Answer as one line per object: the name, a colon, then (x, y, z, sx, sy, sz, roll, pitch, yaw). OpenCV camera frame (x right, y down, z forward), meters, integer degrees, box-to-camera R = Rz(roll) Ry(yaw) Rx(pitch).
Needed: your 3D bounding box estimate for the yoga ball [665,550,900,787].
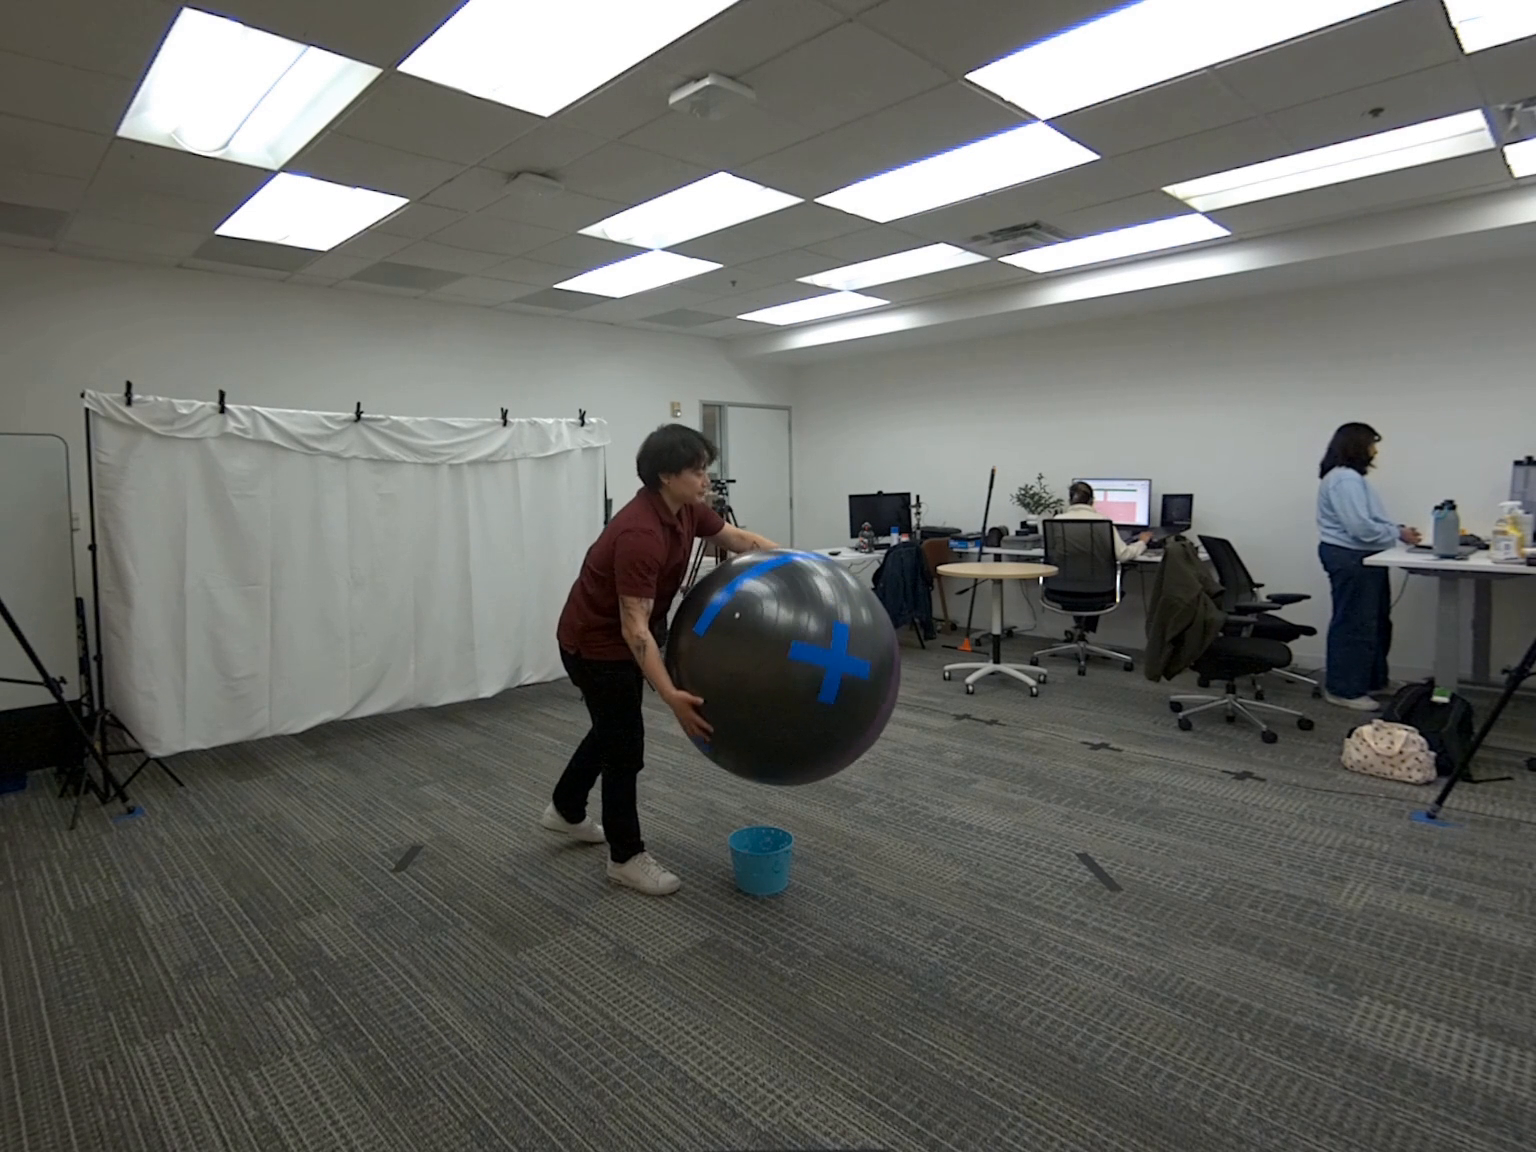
yoga ball: (0.044, 0.283, 2.765, 0.757, 0.755, 0.762, -1, 5, -2)
